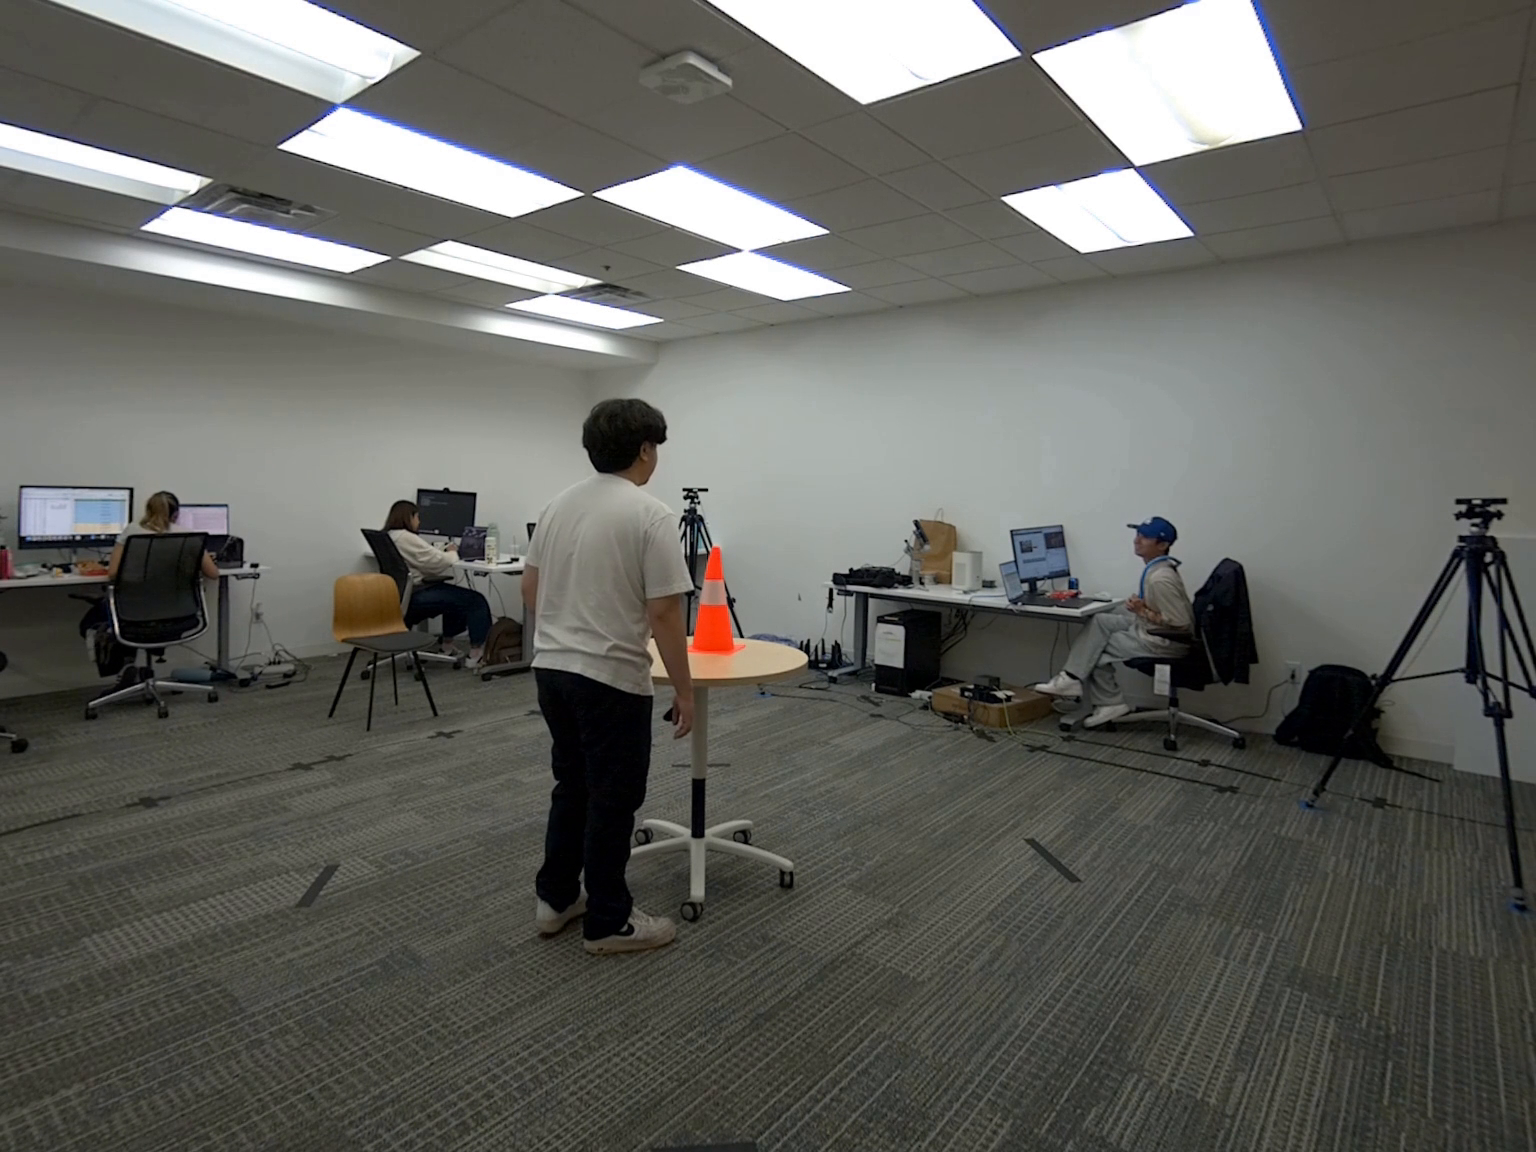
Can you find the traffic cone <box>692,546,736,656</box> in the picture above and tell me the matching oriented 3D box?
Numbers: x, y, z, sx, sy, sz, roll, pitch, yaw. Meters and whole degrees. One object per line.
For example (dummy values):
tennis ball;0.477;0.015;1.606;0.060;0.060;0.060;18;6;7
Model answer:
traffic cone;-0.212;0.082;3.151;0.209;0.382;0.200;3;4;18
